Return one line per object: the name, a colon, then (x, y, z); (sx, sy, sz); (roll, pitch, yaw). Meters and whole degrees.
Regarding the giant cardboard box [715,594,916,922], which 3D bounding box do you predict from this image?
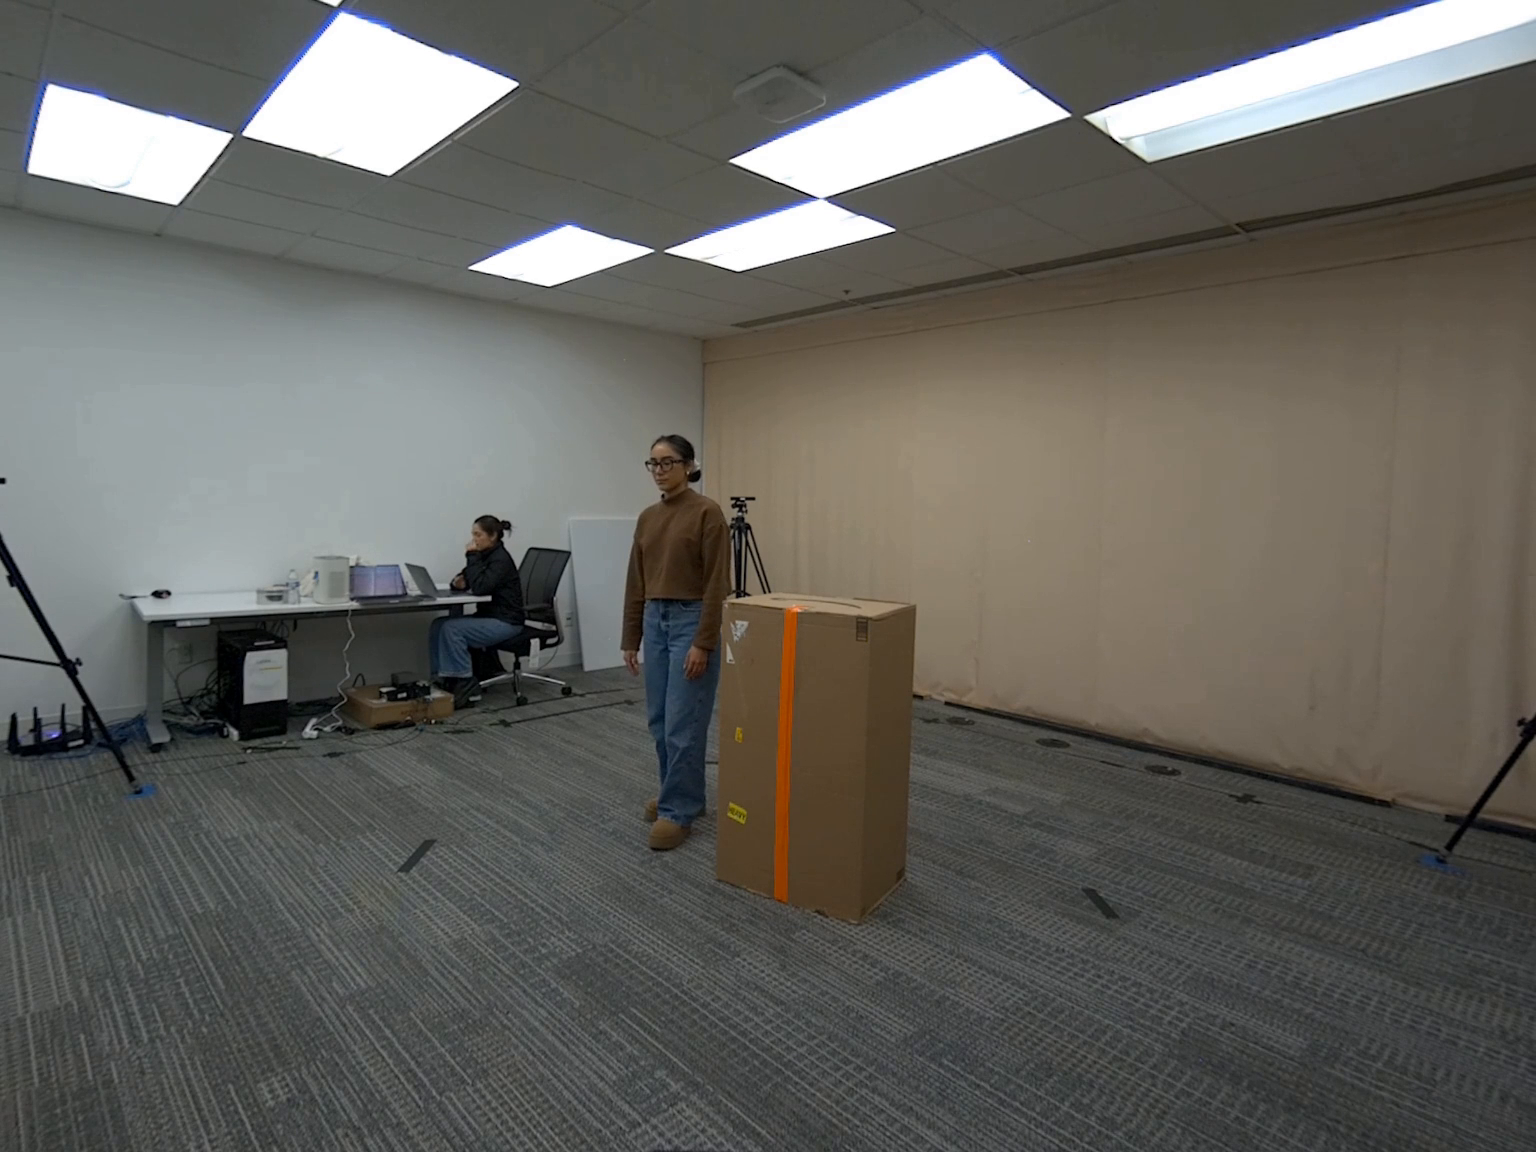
giant cardboard box: (0.171, 0.609, 3.056); (0.591, 1.023, 0.417); (4, 4, 33)
